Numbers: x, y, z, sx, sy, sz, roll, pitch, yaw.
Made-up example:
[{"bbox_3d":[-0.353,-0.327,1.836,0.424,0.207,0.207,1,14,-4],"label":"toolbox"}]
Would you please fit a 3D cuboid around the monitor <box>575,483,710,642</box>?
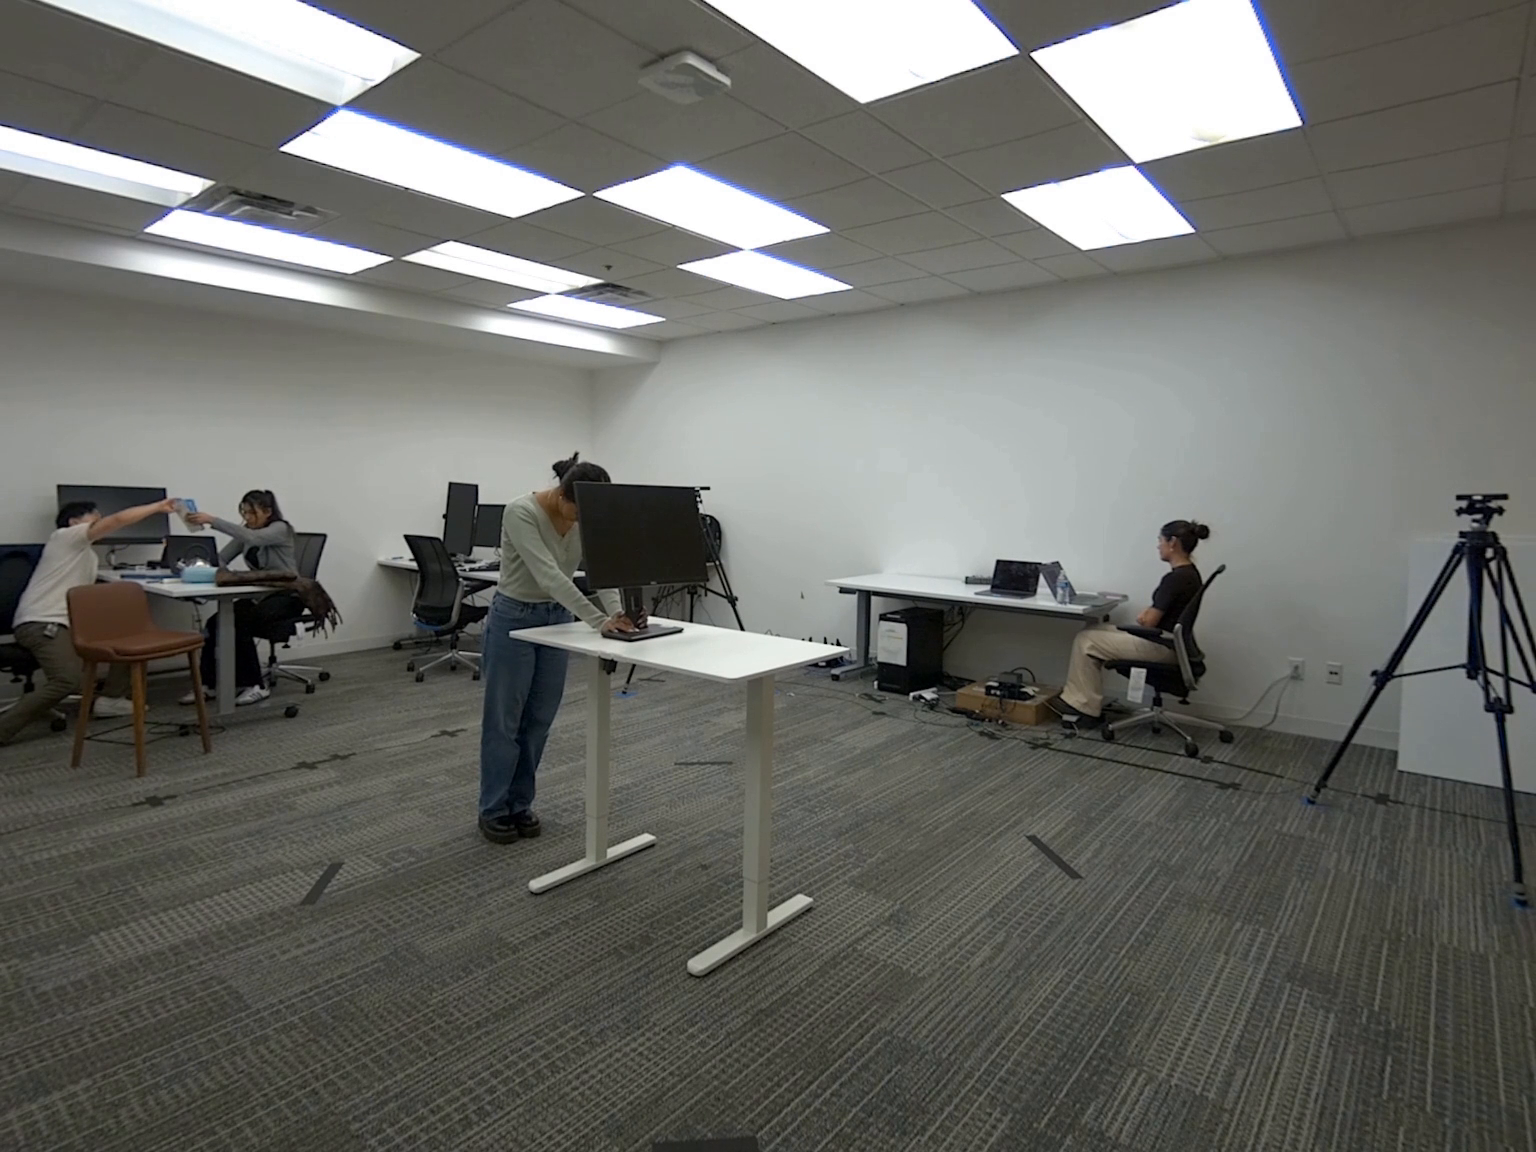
[{"bbox_3d":[-0.447,-0.057,2.916,0.193,0.521,0.523,3,4,41],"label":"monitor"}]
